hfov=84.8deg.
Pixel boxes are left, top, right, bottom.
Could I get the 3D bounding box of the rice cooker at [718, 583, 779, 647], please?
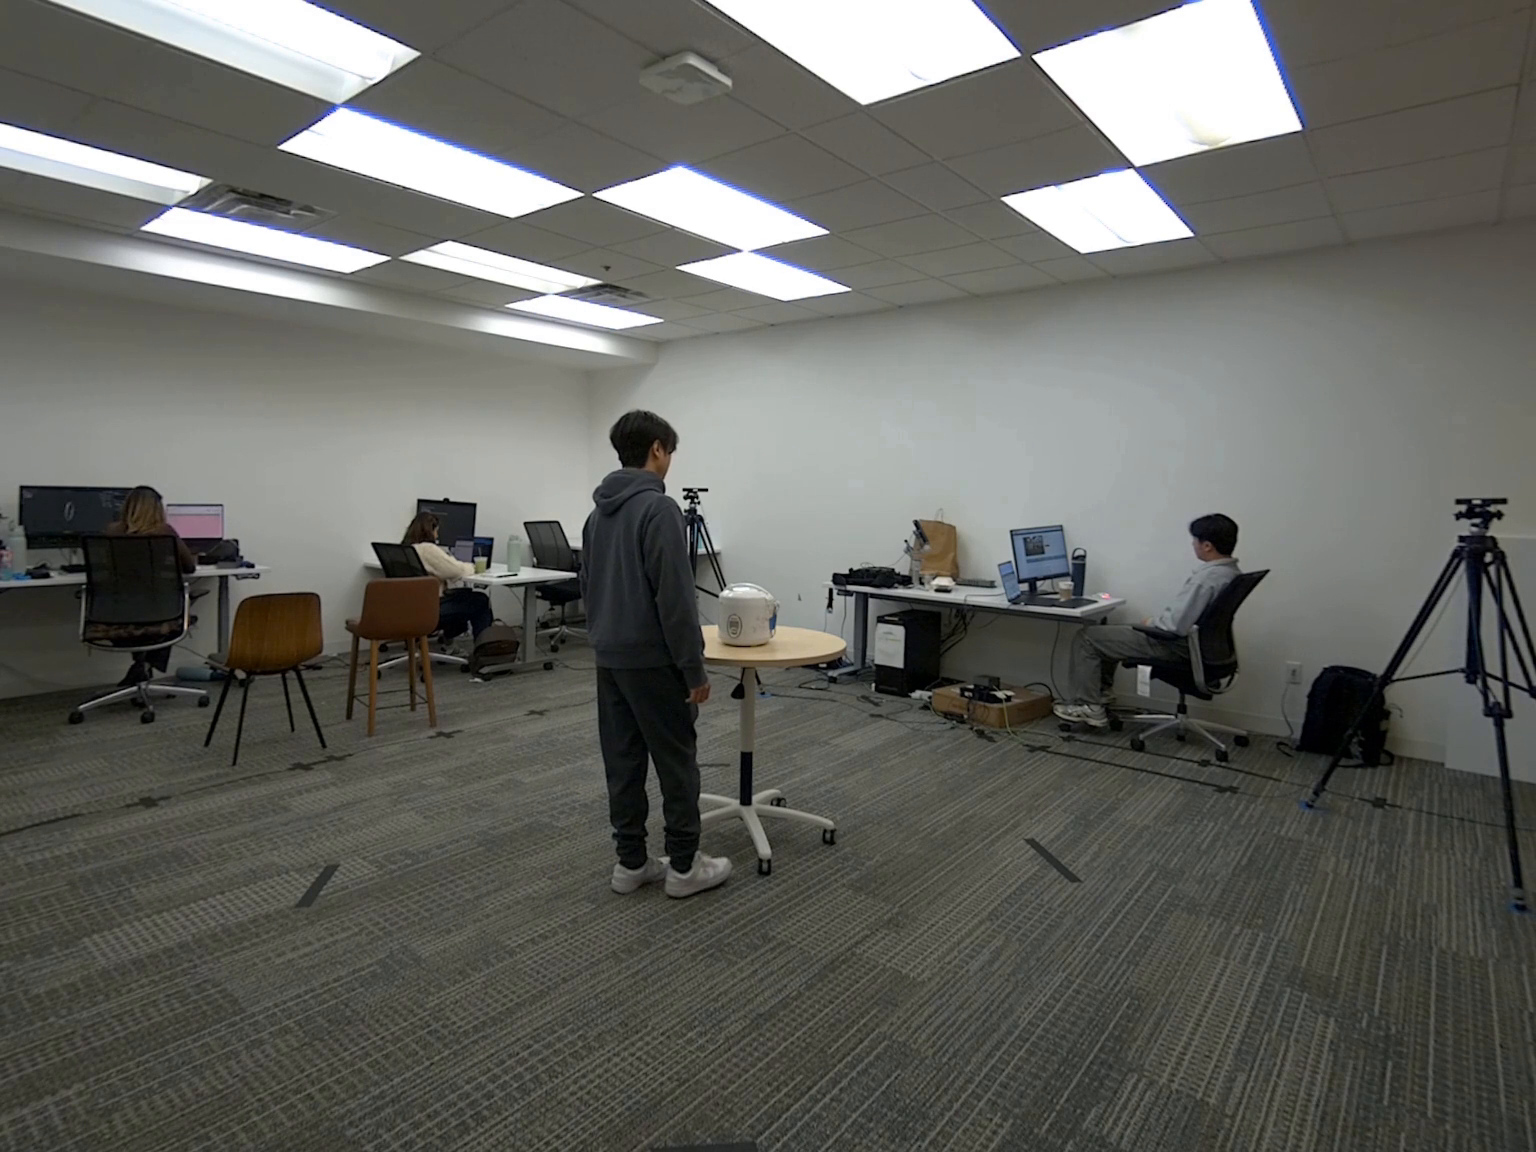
[{"bbox_3d":[-0.093,0.142,3.292,0.226,0.232,0.213,3,5,22],"label":"rice cooker"}]
